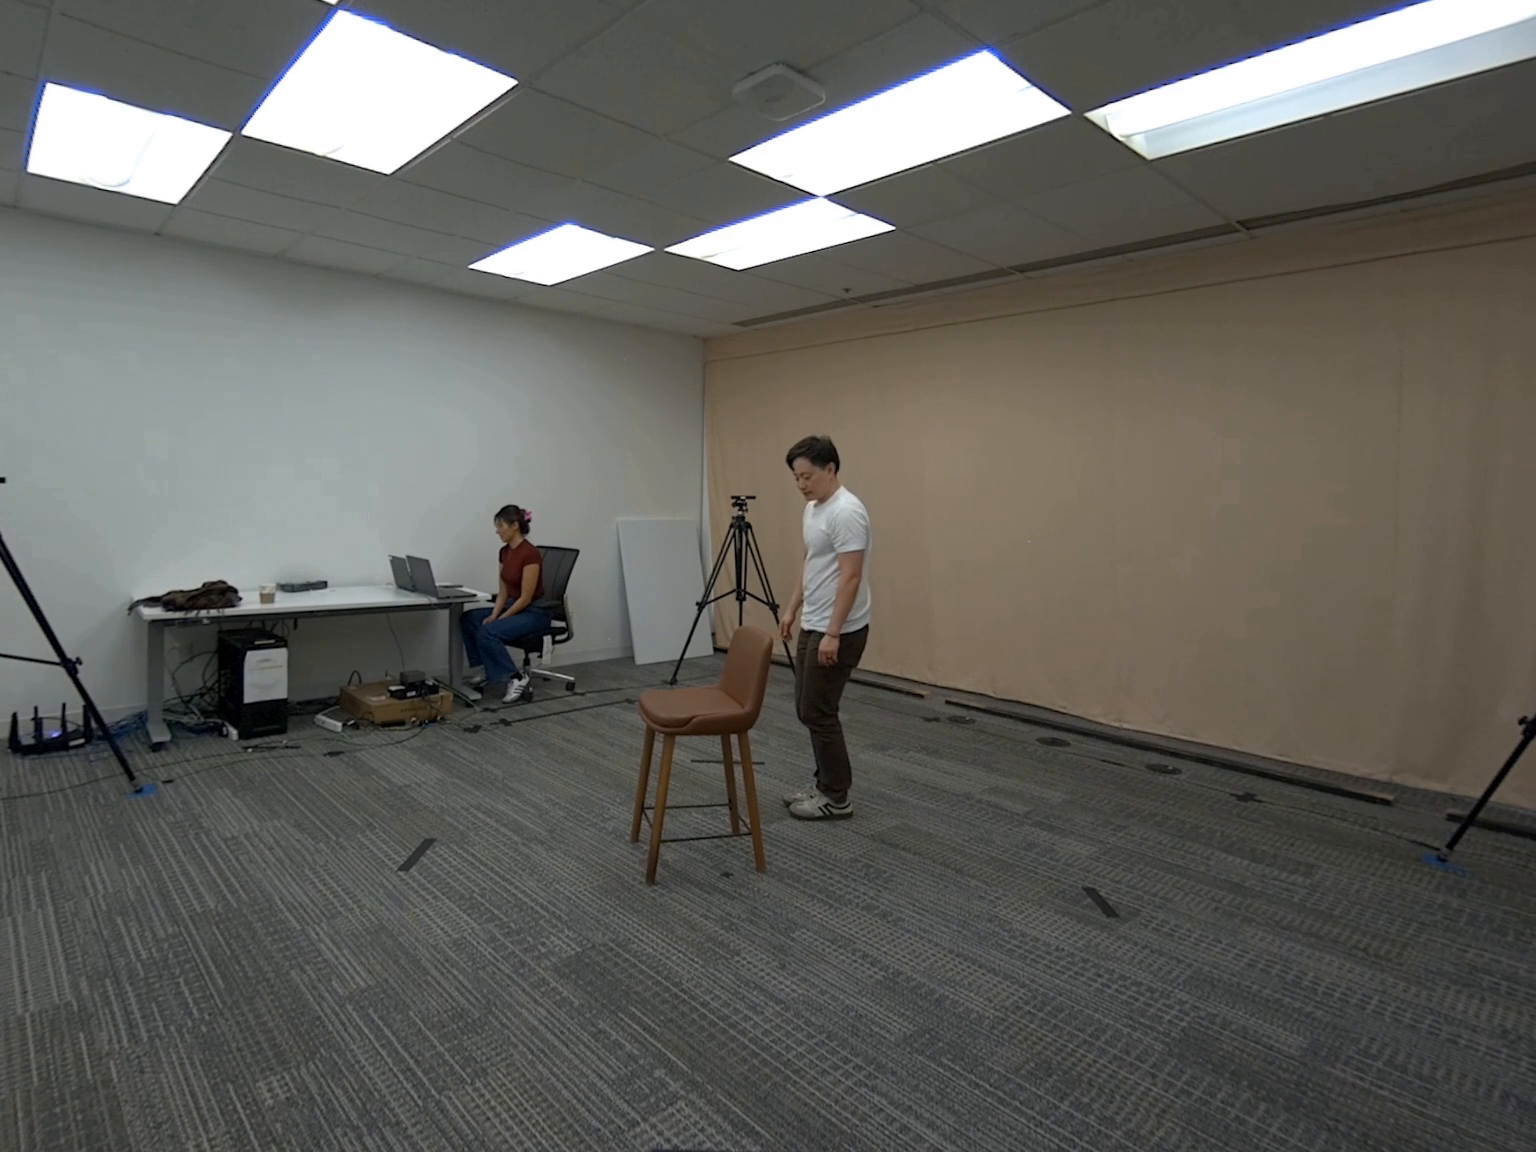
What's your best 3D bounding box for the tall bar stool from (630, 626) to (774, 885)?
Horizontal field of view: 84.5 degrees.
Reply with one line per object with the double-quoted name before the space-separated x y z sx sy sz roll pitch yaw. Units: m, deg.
"tall bar stool" -0.269 0.652 3.233 0.461 0.888 0.464 2 3 -17
